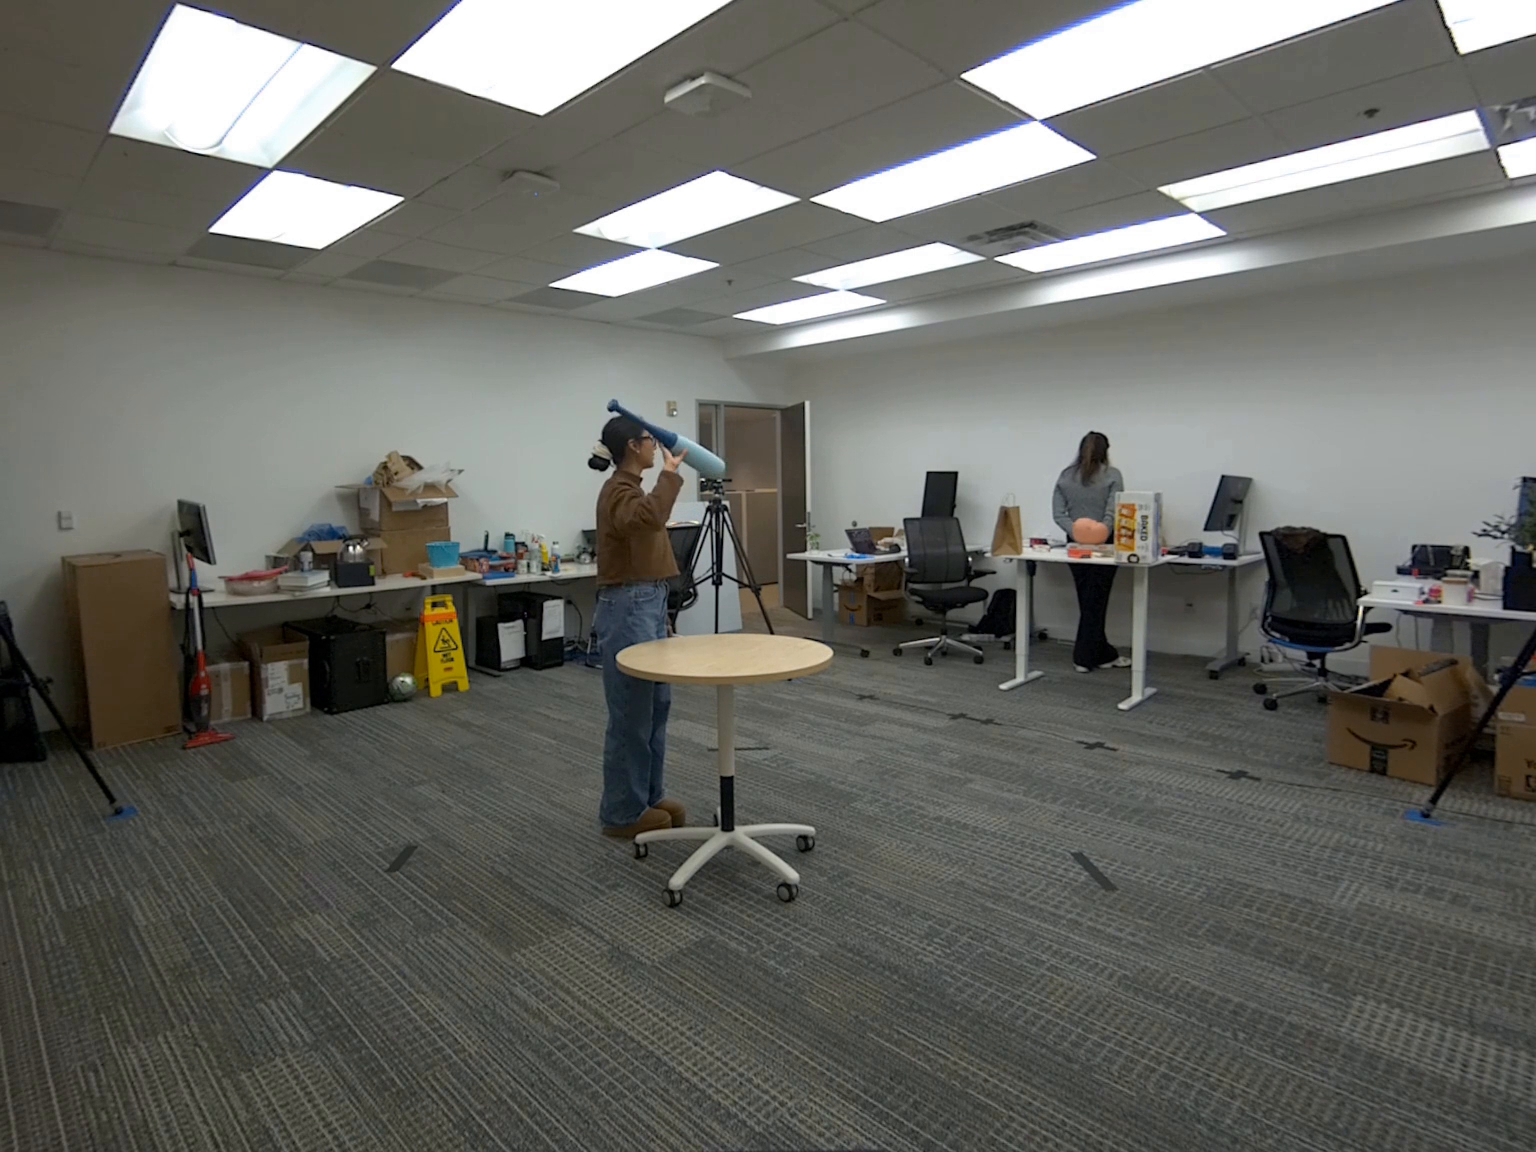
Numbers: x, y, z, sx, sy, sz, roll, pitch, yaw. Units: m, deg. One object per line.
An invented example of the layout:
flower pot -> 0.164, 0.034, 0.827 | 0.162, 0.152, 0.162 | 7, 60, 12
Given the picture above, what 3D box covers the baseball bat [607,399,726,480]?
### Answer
baseball bat -> -0.373, -0.517, 3.217 | 0.524, 0.089, 0.092 | 28, -14, -35
